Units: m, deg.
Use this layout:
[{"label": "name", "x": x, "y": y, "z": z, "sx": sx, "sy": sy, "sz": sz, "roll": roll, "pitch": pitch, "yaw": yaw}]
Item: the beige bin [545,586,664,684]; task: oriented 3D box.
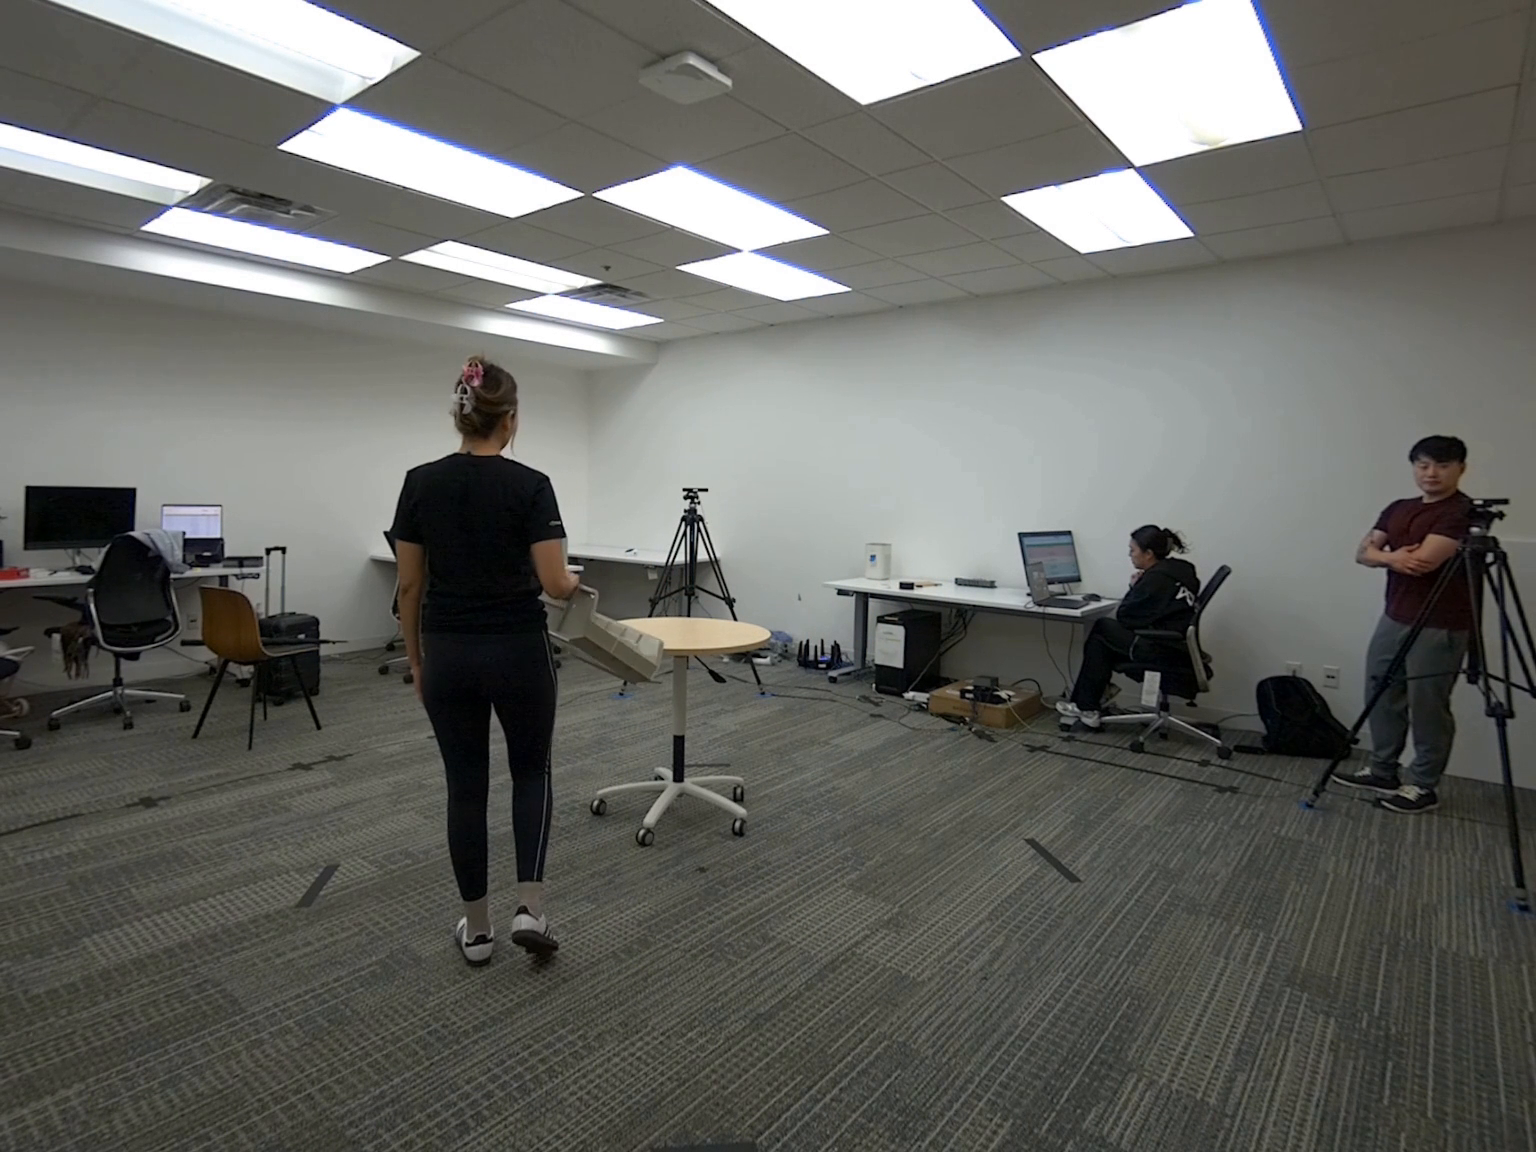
[{"label": "beige bin", "x": -0.612, "y": 0.175, "z": 2.831, "sx": 0.391, "sy": 0.190, "sz": 0.405, "roll": 16, "pitch": -17, "yaw": 34}]
